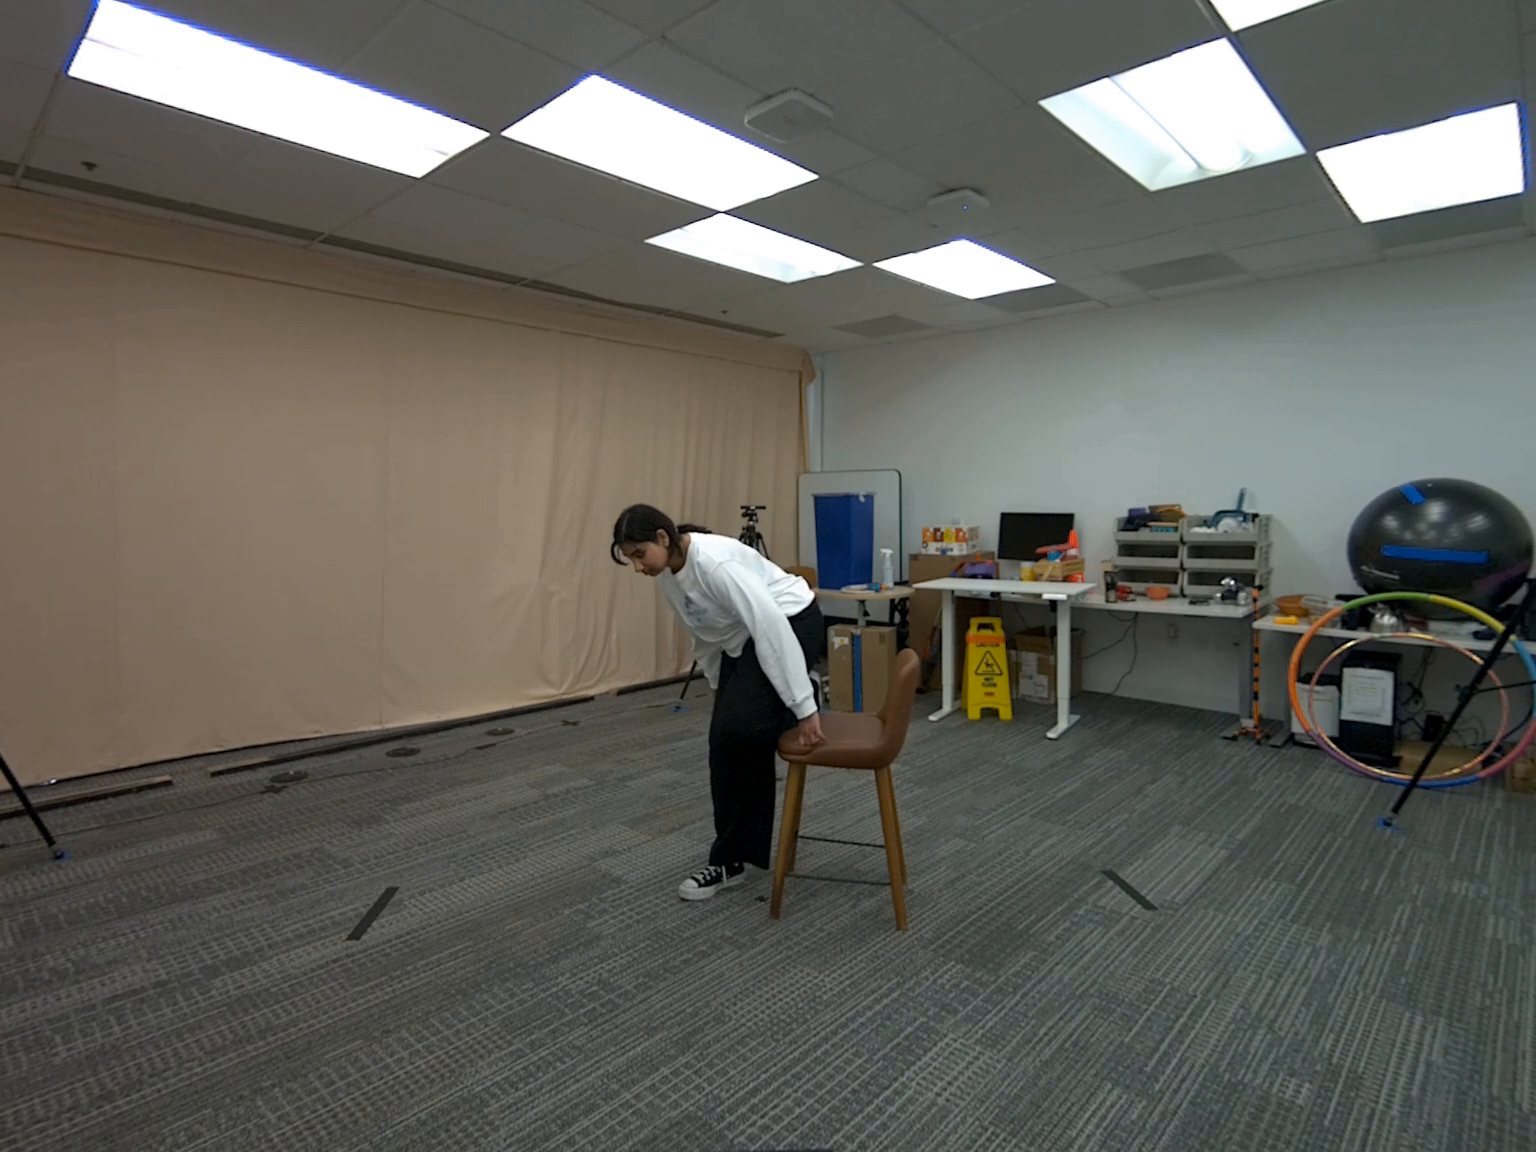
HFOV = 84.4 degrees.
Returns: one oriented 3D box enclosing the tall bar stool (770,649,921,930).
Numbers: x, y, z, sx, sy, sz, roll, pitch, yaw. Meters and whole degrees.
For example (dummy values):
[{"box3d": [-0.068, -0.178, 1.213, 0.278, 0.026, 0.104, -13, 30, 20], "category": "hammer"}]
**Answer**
[{"box3d": [0.276, 0.712, 2.954, 0.474, 0.888, 0.452, 2, 4, 11], "category": "tall bar stool"}]
